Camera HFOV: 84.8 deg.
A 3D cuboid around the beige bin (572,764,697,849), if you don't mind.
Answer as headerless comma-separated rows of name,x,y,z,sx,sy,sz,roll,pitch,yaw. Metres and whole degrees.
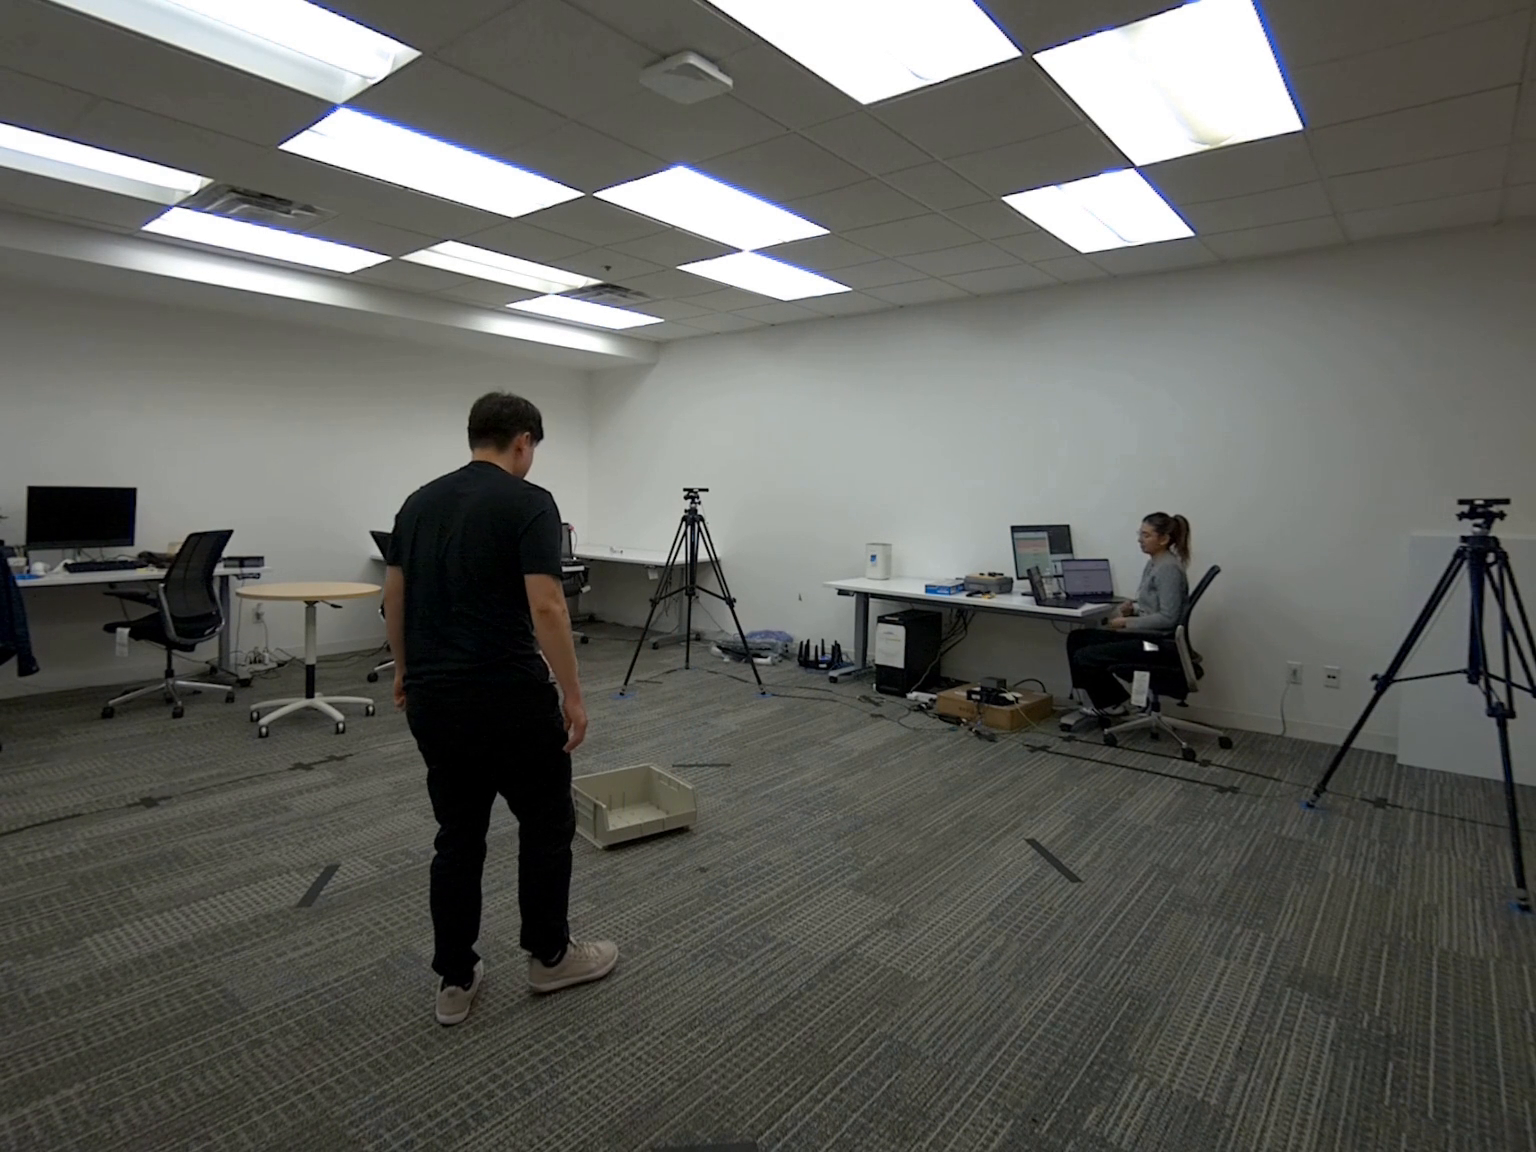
beige bin,-0.576,0.941,3.487,0.410,0.188,0.390,-3,6,-37
